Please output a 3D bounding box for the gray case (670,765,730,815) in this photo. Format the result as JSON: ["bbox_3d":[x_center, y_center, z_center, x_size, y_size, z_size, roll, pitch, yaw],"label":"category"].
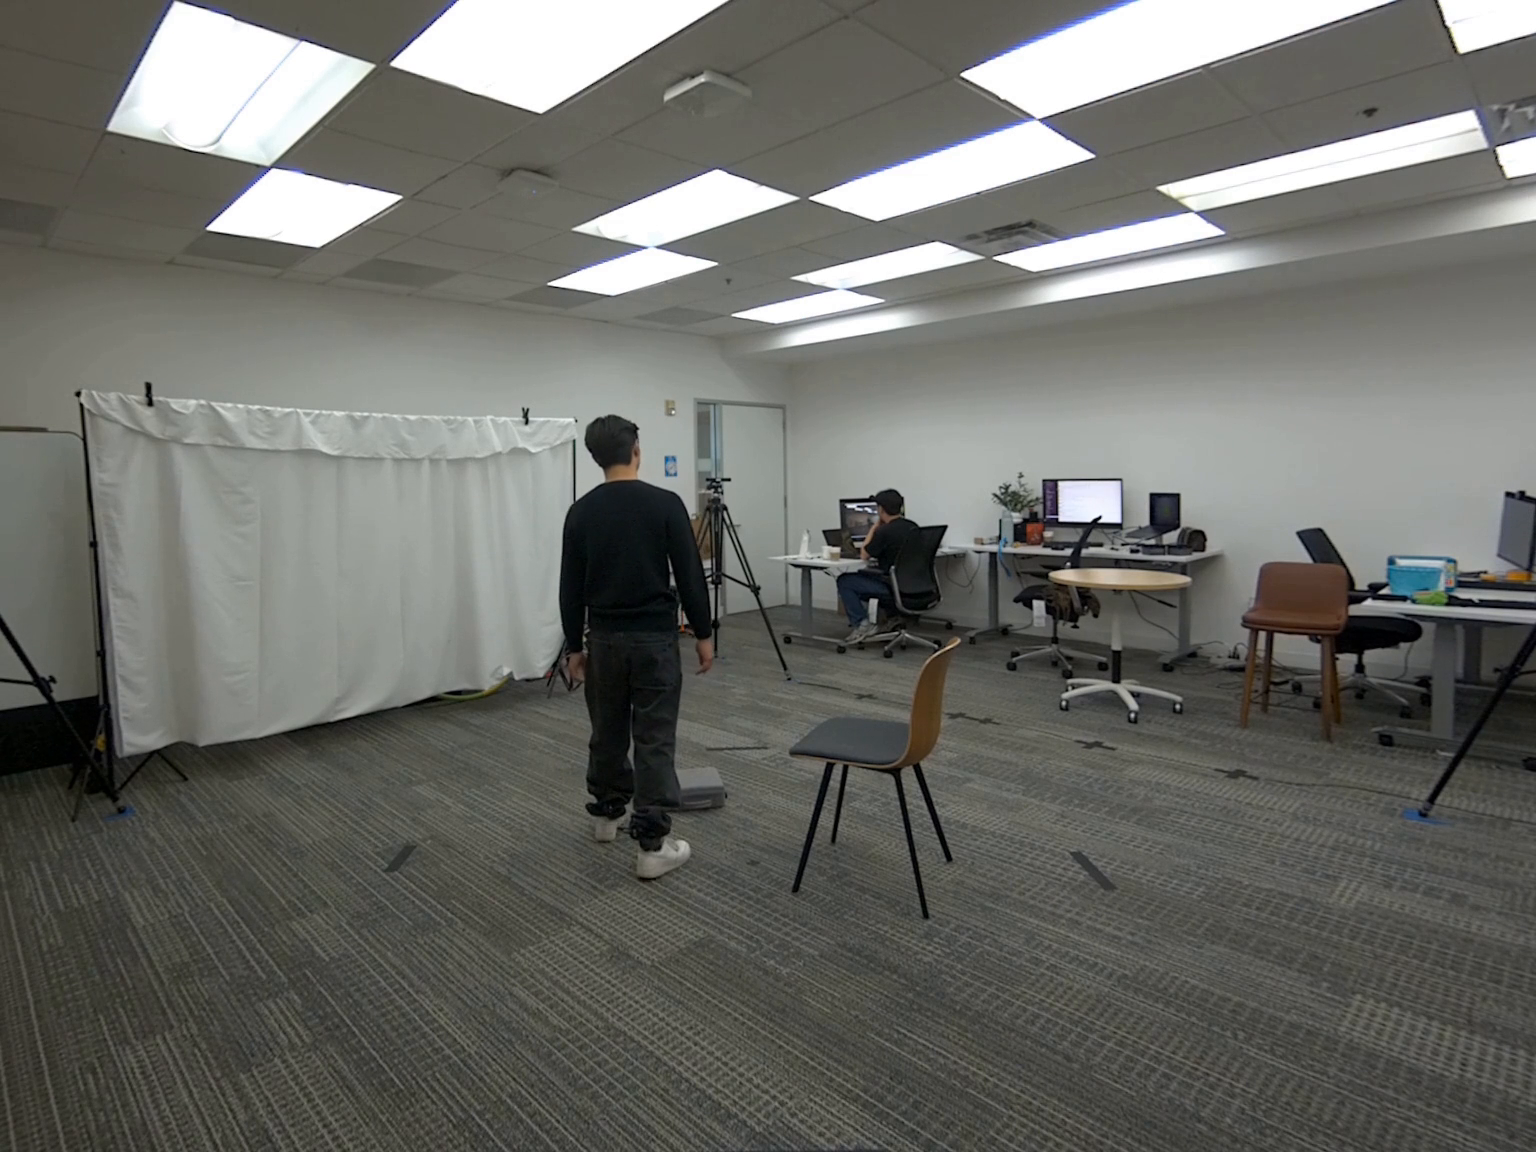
[{"bbox_3d":[-0.319,0.924,3.722,0.254,0.104,0.264,-2,6,-11],"label":"gray case"}]
